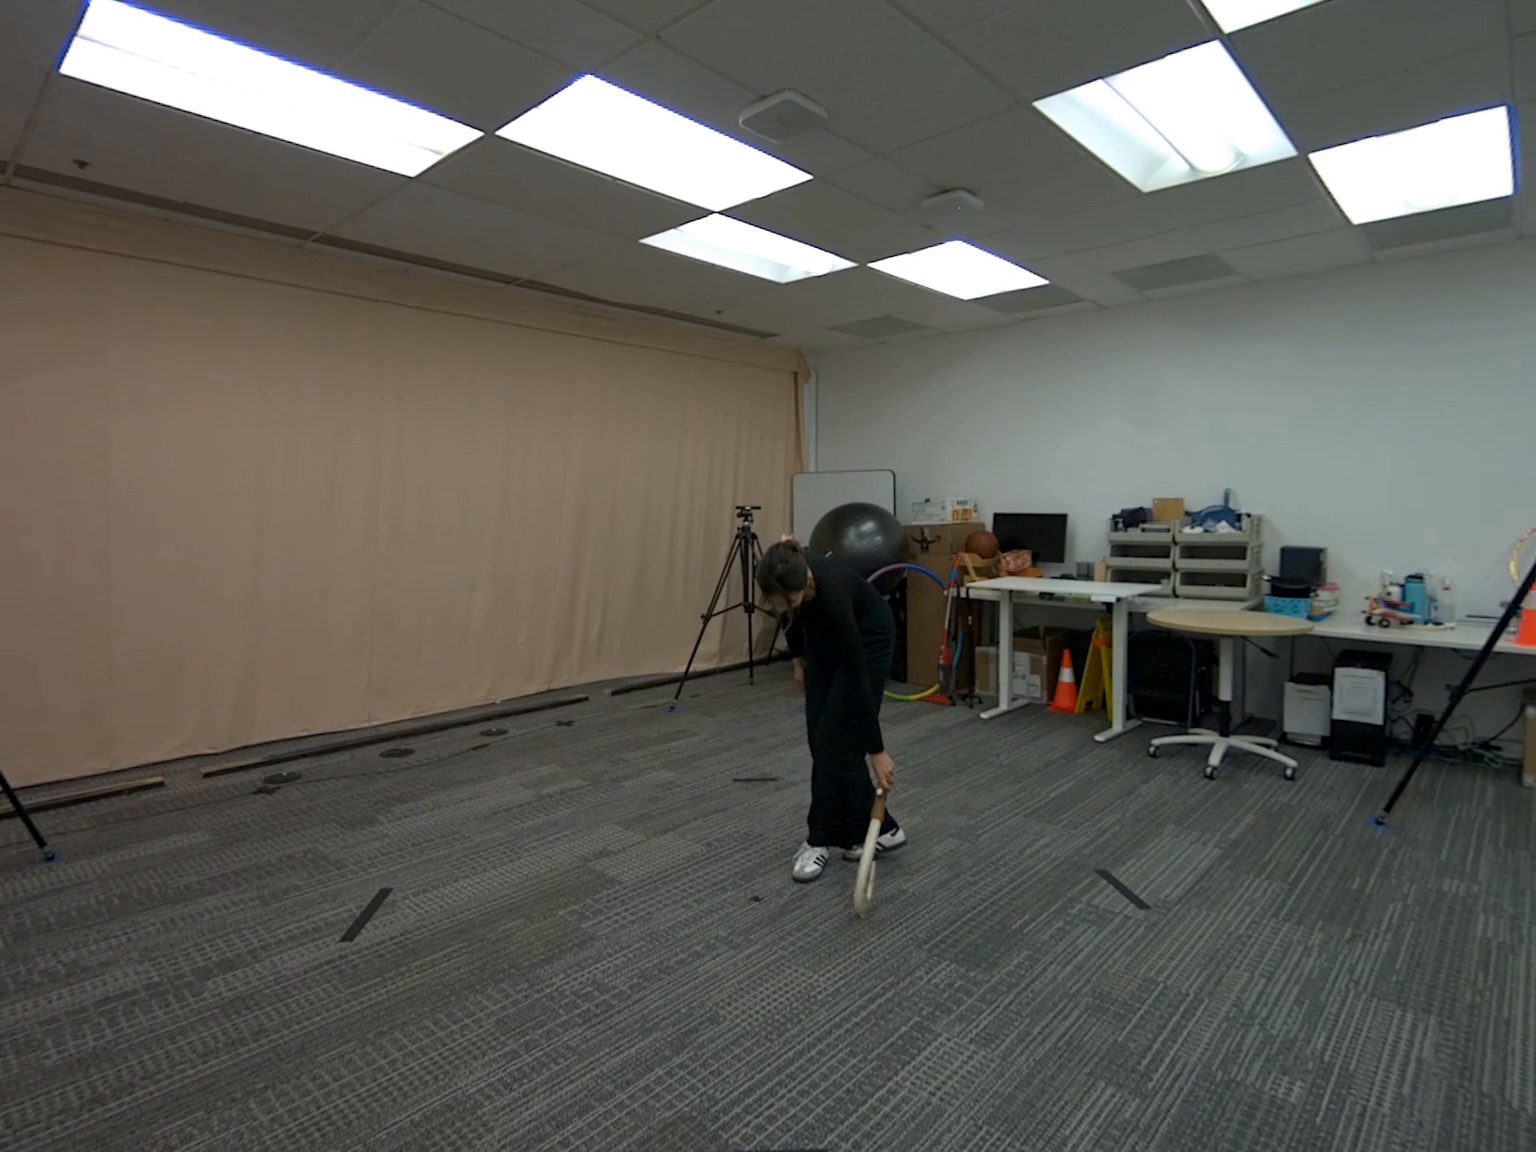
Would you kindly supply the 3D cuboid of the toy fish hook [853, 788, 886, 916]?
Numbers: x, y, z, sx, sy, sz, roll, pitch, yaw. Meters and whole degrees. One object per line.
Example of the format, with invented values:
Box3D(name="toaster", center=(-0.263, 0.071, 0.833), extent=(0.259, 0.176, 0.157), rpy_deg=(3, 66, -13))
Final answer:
Box3D(name="toy fish hook", center=(0.371, 0.909, 2.932), extent=(0.049, 0.510, 0.218), rpy_deg=(8, -27, 18))
